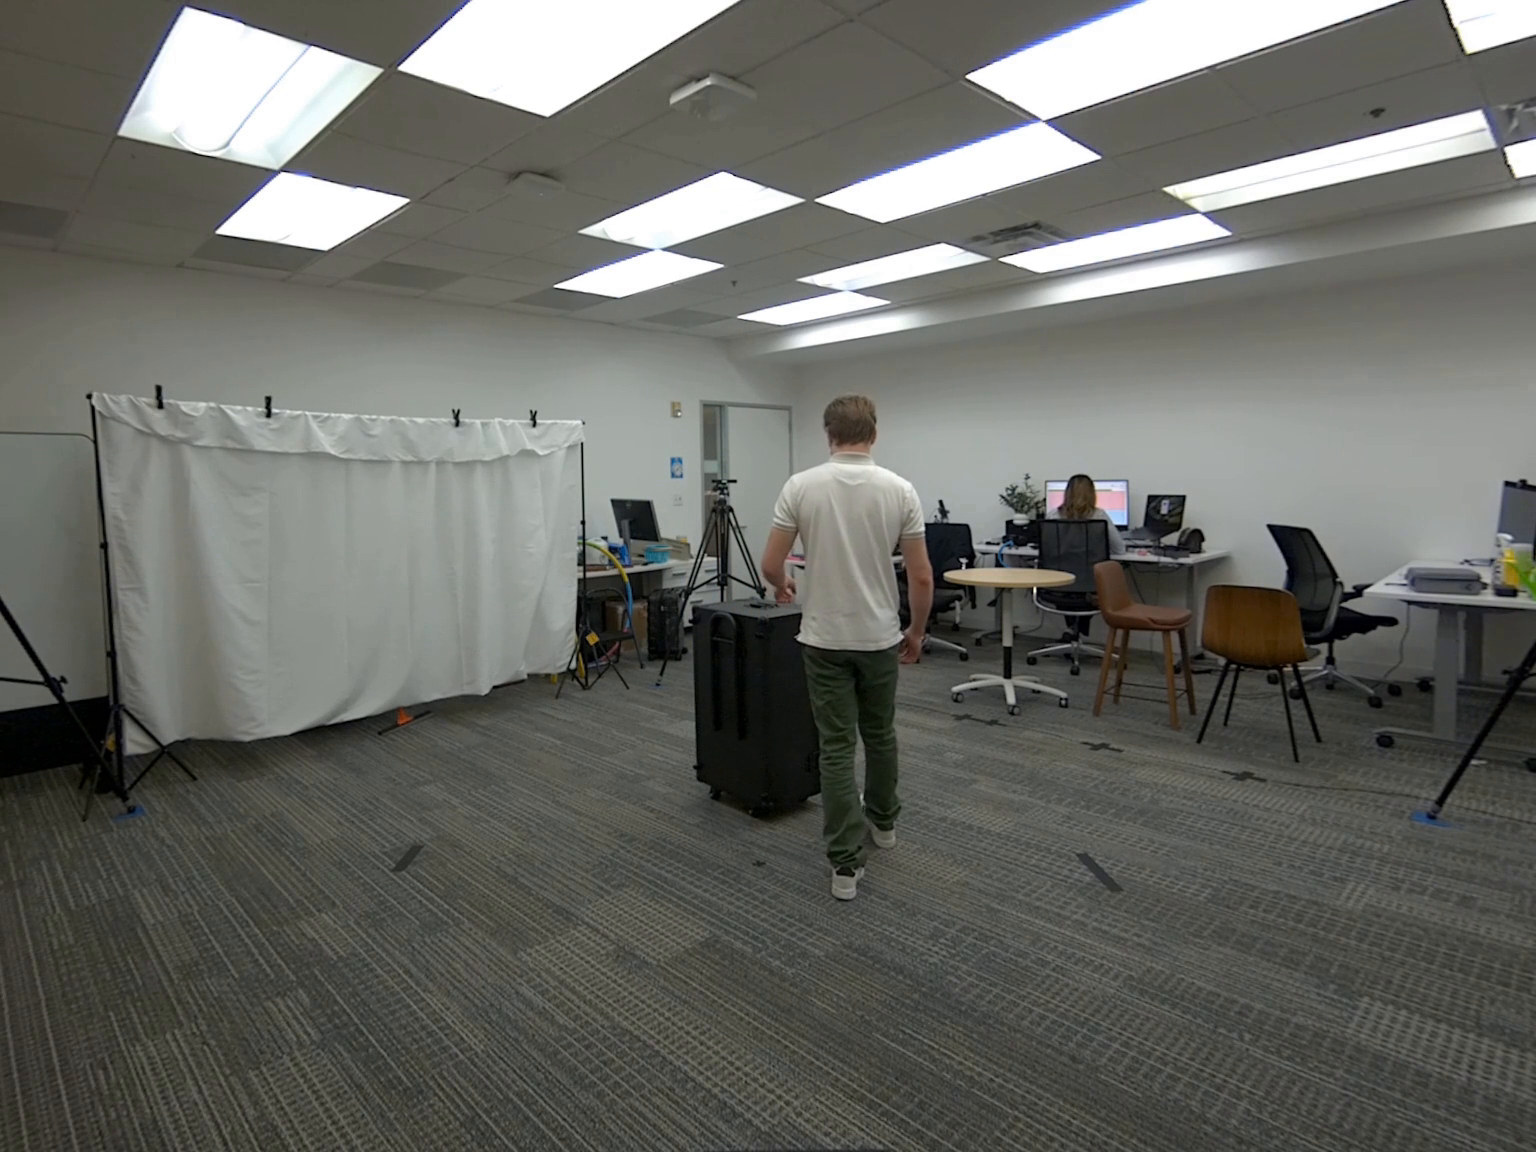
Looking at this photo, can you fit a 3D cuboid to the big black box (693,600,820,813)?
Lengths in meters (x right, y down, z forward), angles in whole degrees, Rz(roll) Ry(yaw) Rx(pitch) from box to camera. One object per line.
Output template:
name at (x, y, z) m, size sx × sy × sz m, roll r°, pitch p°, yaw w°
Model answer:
big black box at (-0.042, 0.560, 3.686) m, size 0.386 × 0.858 × 0.537 m, roll -5°, pitch 6°, yaw -40°
